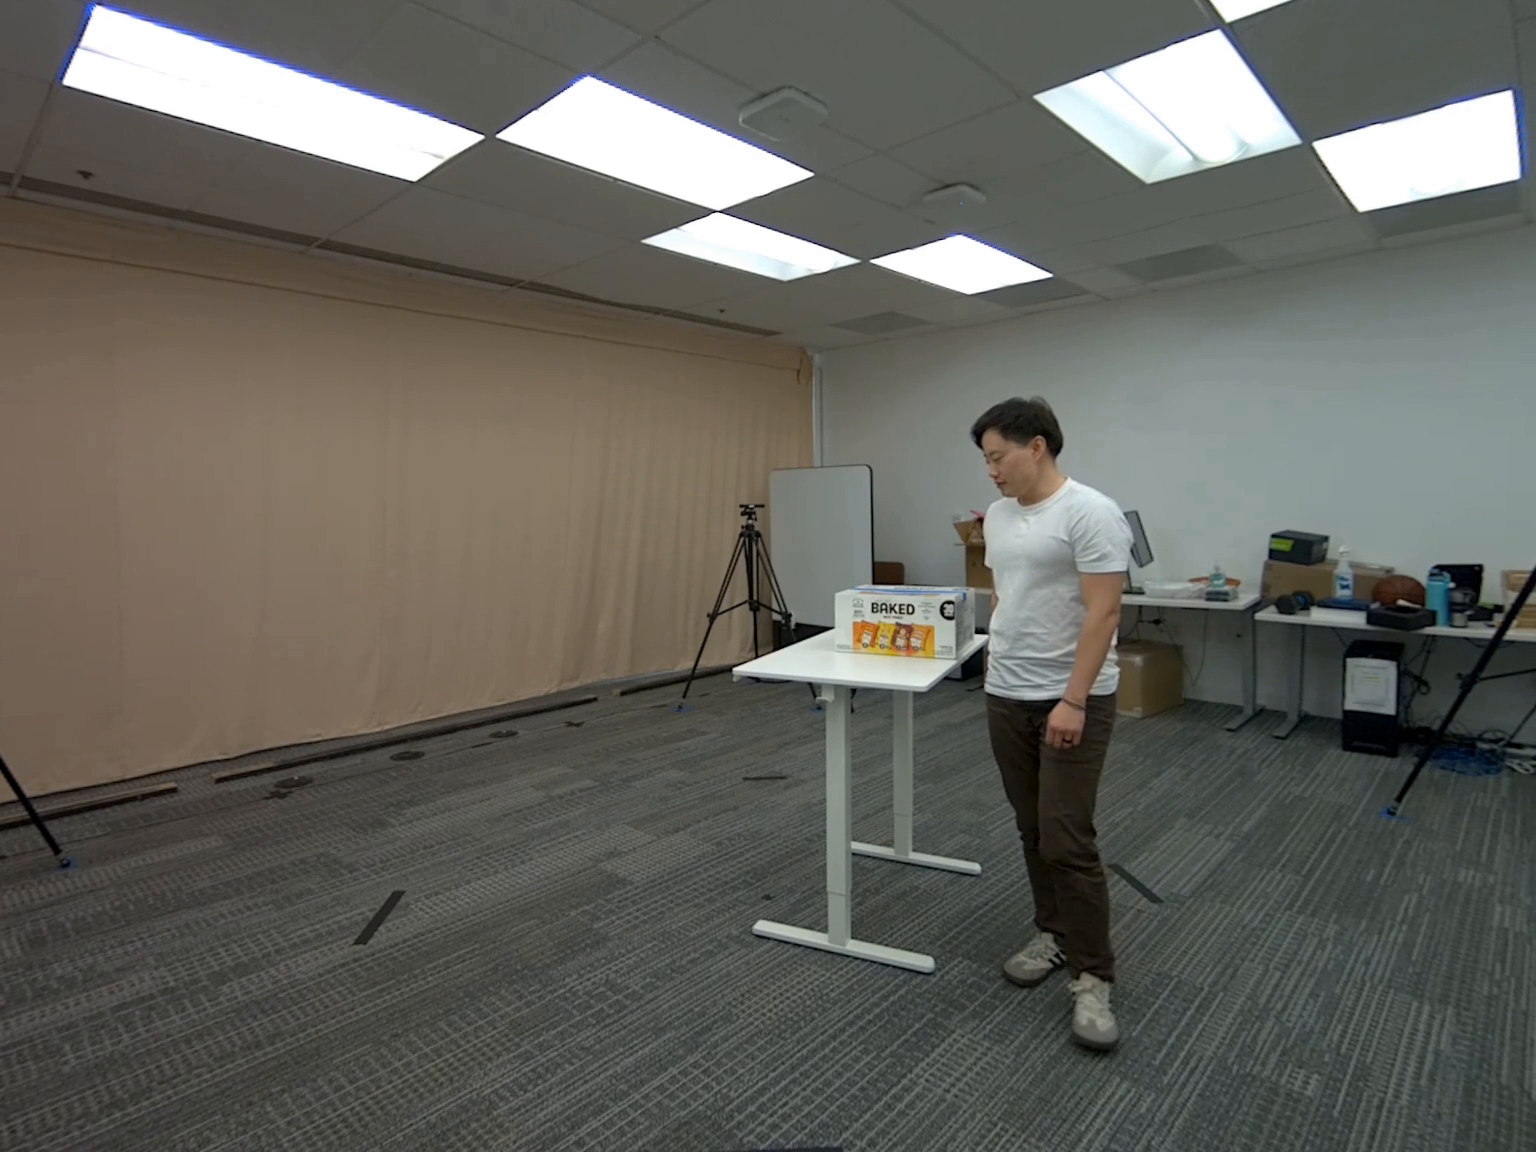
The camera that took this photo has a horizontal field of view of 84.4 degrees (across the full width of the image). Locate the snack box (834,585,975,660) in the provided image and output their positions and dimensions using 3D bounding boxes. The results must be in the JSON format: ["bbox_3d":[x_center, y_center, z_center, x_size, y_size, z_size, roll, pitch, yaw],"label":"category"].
[{"bbox_3d":[0.486,0.153,2.944,0.416,0.205,0.332,2,5,25],"label":"snack box"}]
